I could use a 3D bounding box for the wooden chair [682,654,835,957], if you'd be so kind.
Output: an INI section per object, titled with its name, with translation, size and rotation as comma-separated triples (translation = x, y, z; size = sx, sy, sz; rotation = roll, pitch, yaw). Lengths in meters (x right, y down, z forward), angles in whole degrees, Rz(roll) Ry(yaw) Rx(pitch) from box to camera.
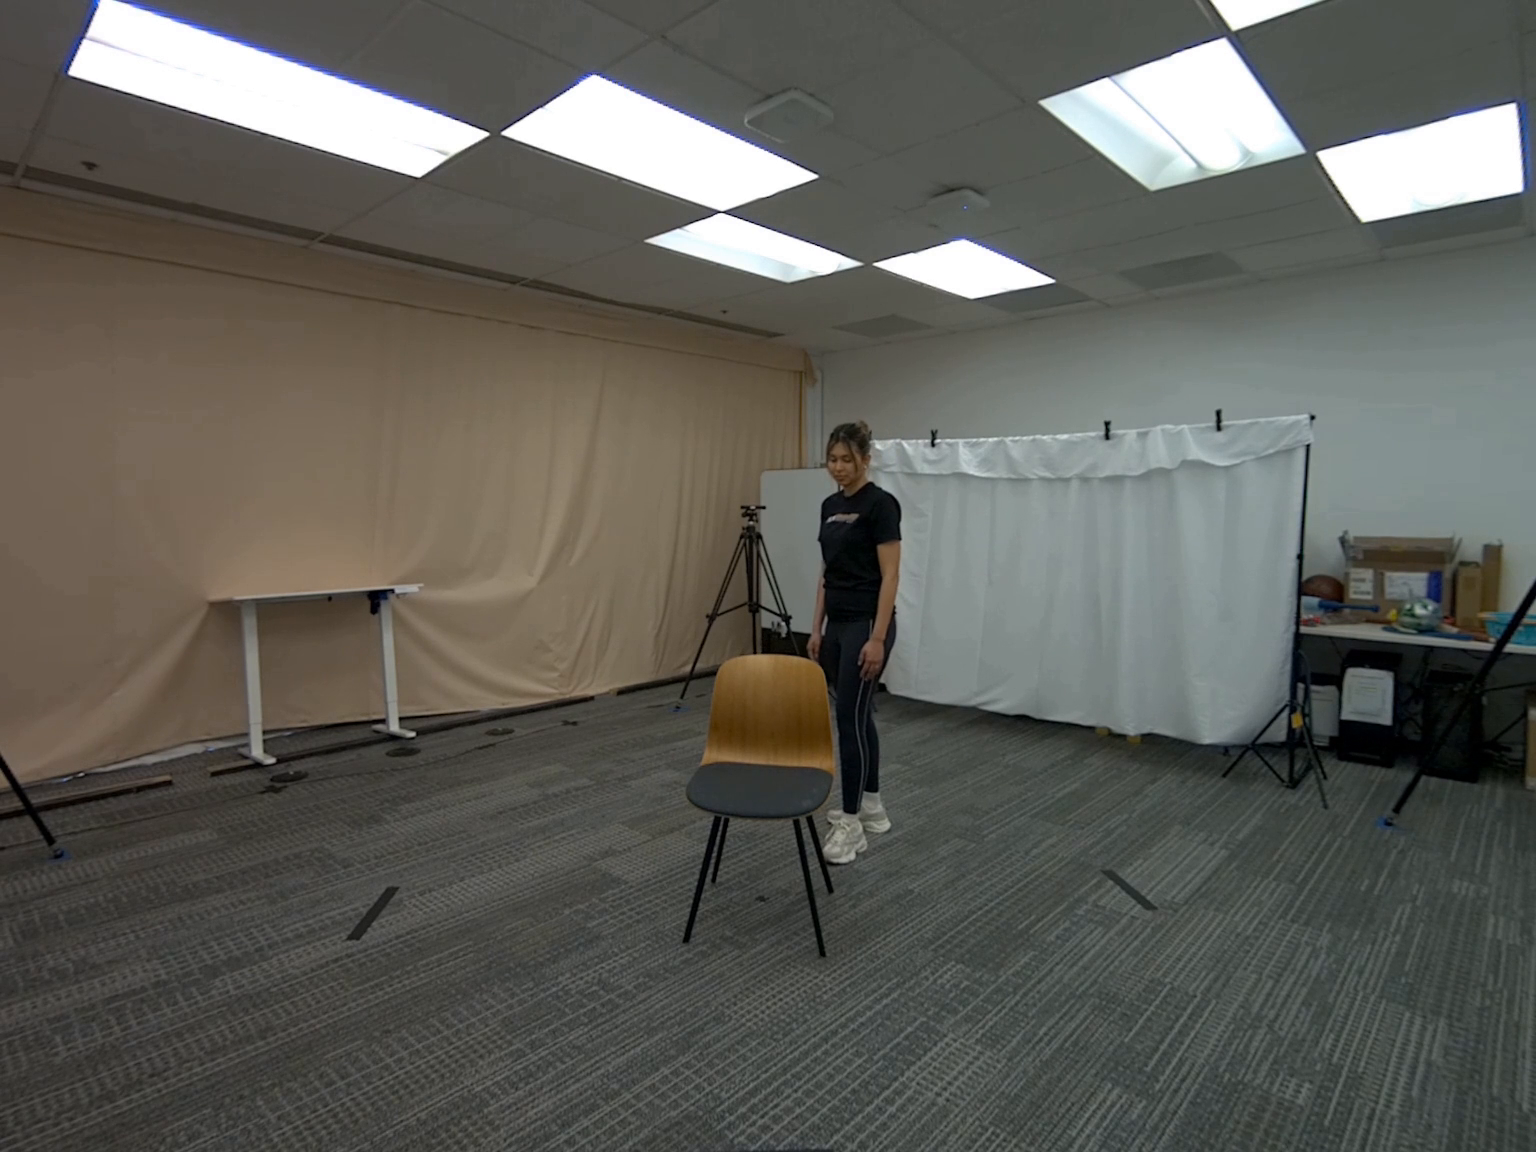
[wooden chair]
translation = -0.012, 0.729, 2.817
size = 0.484, 0.878, 0.517
rotation = 1, -1, 10
